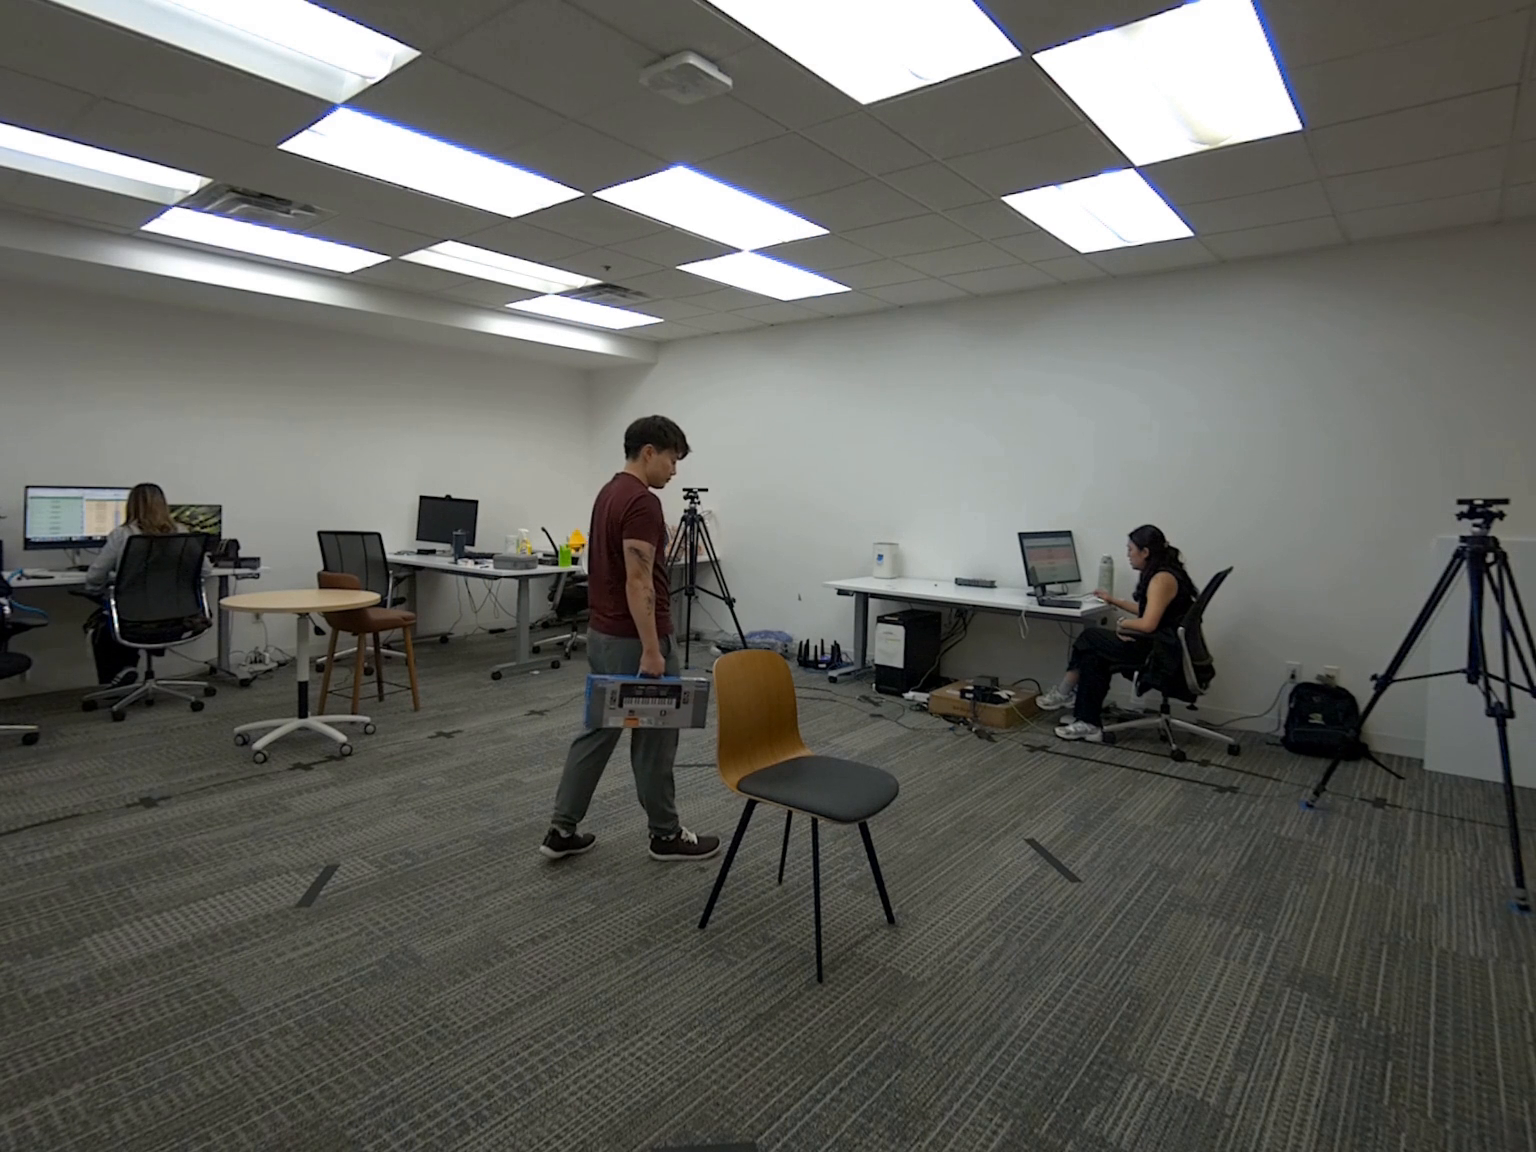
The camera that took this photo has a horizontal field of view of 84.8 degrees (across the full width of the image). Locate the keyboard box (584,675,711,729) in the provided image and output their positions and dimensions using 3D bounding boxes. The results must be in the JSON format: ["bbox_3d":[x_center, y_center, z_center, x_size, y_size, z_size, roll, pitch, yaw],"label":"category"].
[{"bbox_3d":[-0.435,0.438,2.975,0.426,0.176,0.060,5,1,-22],"label":"keyboard box"}]
